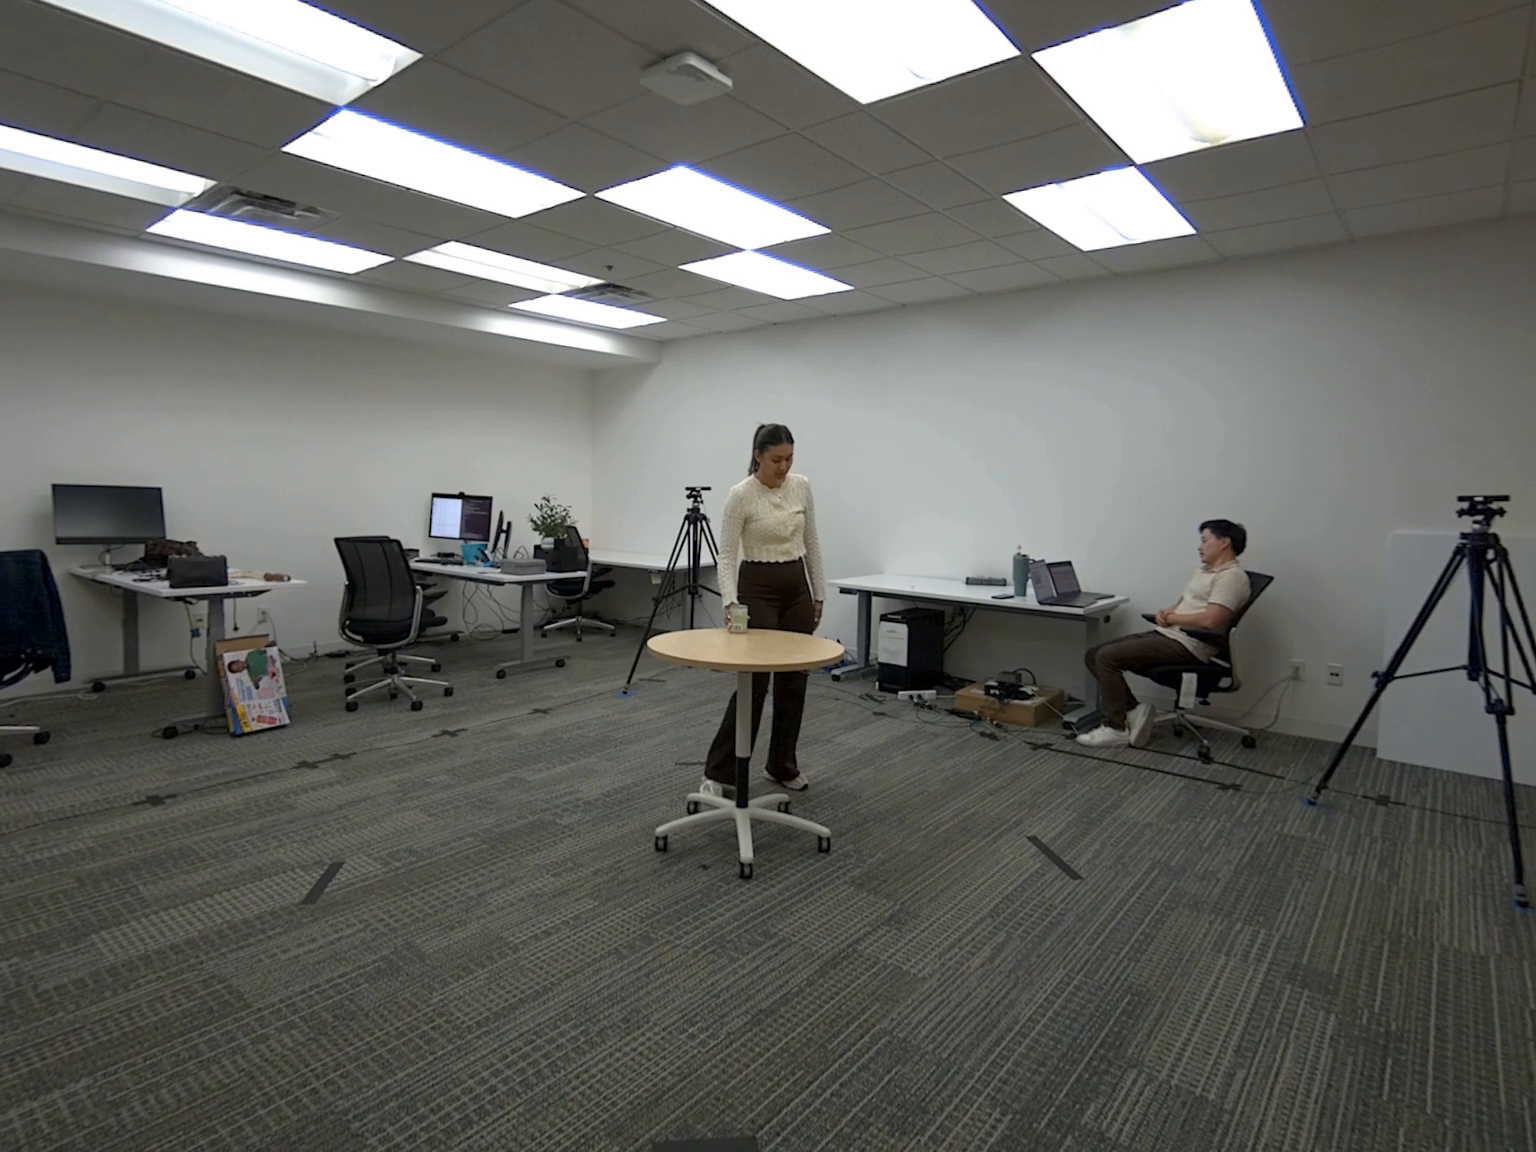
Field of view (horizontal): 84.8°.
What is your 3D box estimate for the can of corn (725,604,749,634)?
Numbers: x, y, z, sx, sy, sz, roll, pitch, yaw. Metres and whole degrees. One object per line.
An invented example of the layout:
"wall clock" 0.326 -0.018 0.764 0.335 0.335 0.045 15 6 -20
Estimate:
"can of corn" -0.144 0.179 3.597 0.074 0.111 0.074 1 4 -2
